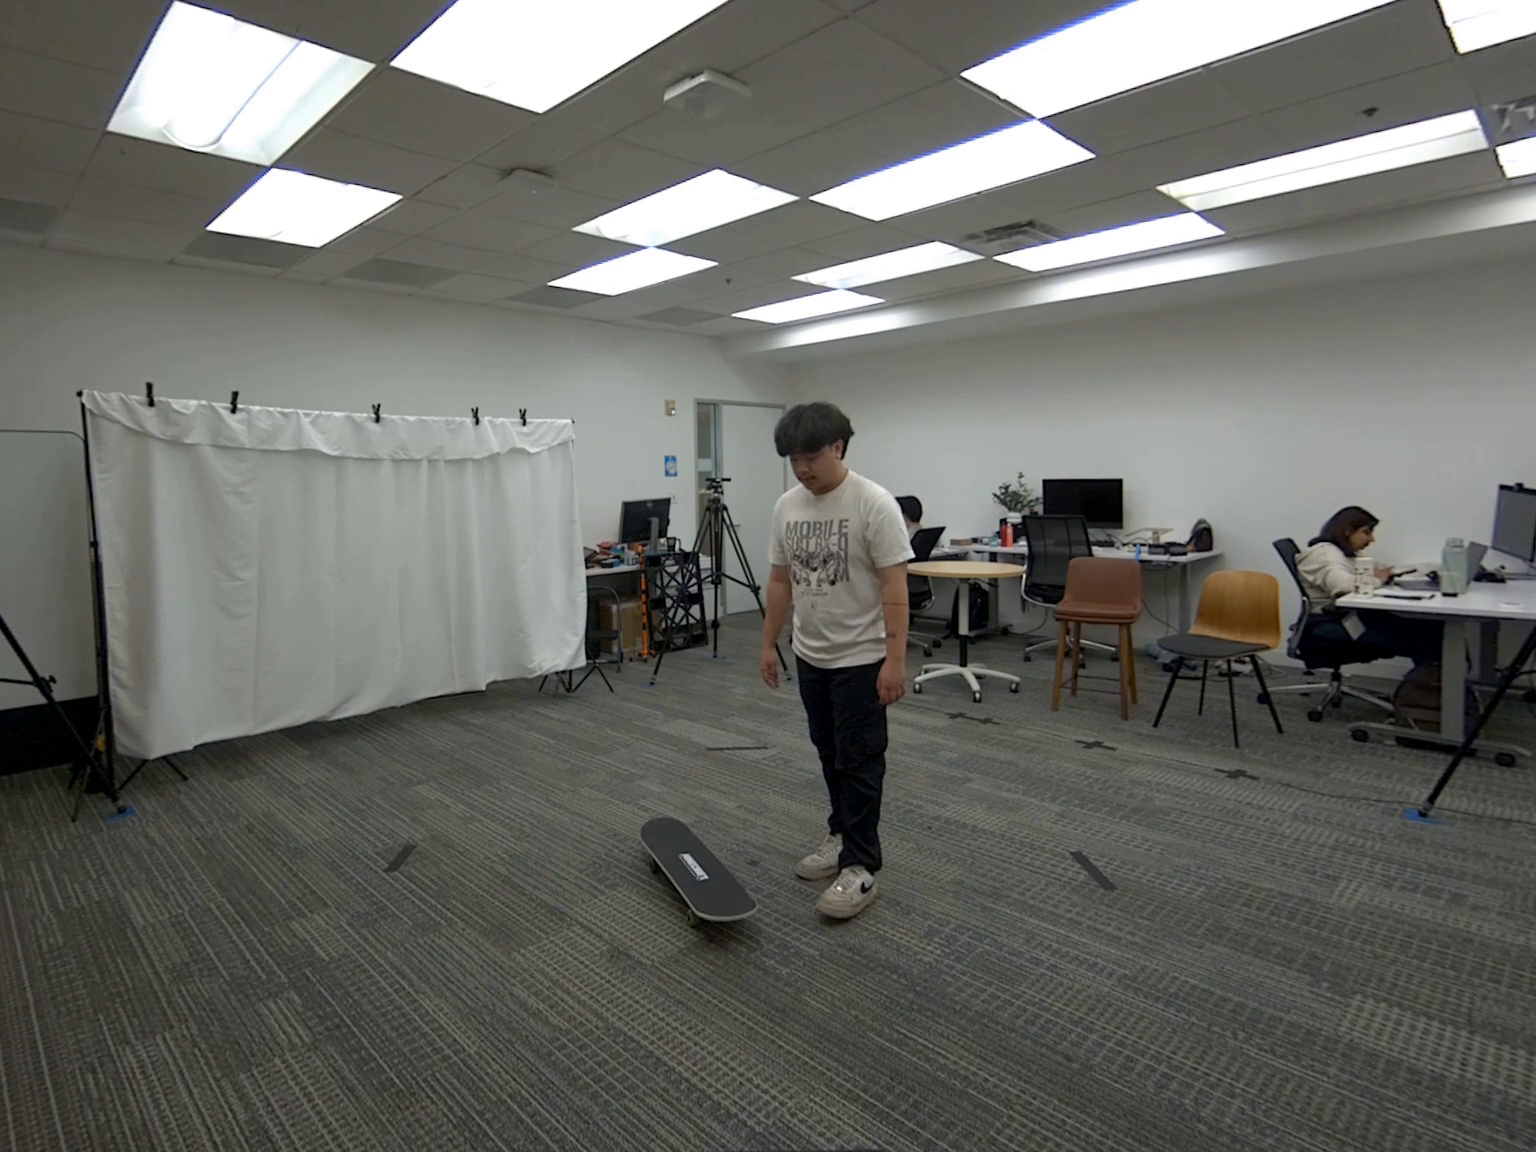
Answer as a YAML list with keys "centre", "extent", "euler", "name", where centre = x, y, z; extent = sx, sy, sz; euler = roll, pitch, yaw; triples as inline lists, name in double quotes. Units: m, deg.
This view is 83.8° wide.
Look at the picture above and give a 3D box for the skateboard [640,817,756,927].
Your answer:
- centre: [-0.245, 1.016, 2.886]
  extent: [0.190, 0.110, 0.805]
  euler: [-4, 7, -24]
  name: "skateboard"
